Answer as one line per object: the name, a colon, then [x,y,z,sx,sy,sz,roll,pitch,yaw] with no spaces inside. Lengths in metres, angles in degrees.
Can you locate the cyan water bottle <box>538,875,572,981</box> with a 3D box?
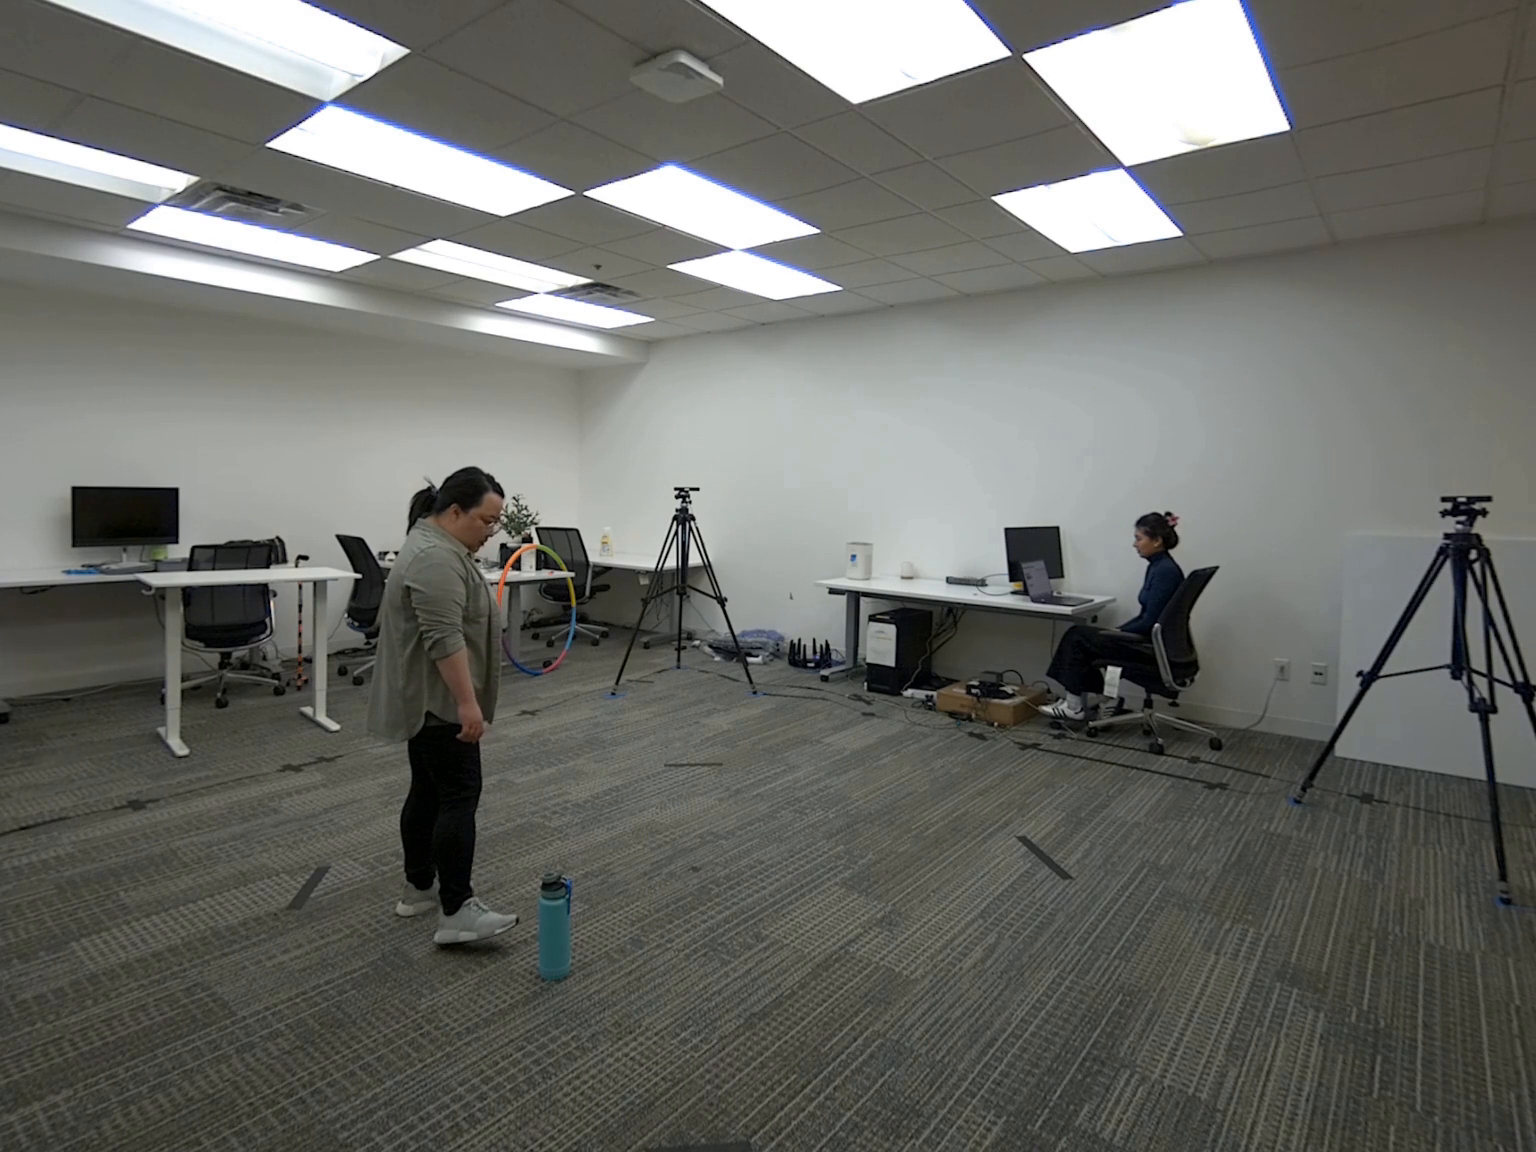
cyan water bottle: [-0.617,0.990,2.422,0.092,0.283,0.093,1,3,-2]
